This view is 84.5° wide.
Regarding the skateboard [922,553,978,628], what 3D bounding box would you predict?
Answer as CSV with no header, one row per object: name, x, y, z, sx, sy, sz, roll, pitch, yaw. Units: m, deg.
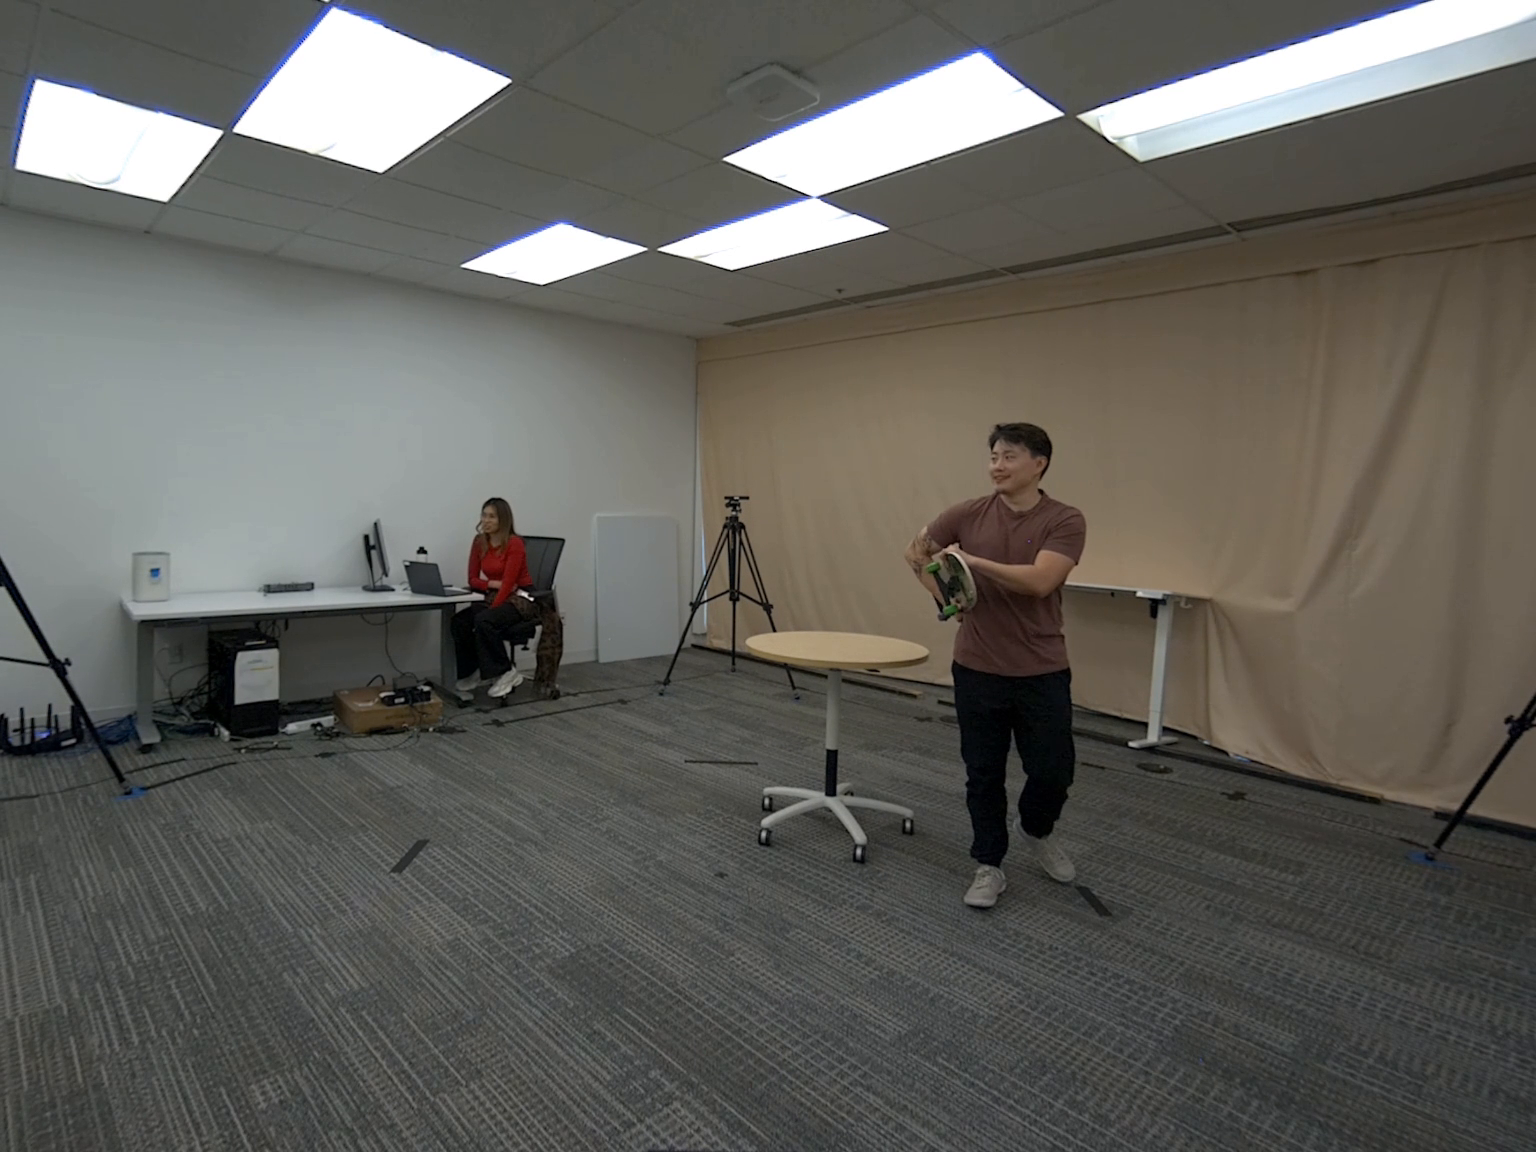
skateboard,0.652,0.061,3.032,0.111,0.195,0.776,-20,-8,6
